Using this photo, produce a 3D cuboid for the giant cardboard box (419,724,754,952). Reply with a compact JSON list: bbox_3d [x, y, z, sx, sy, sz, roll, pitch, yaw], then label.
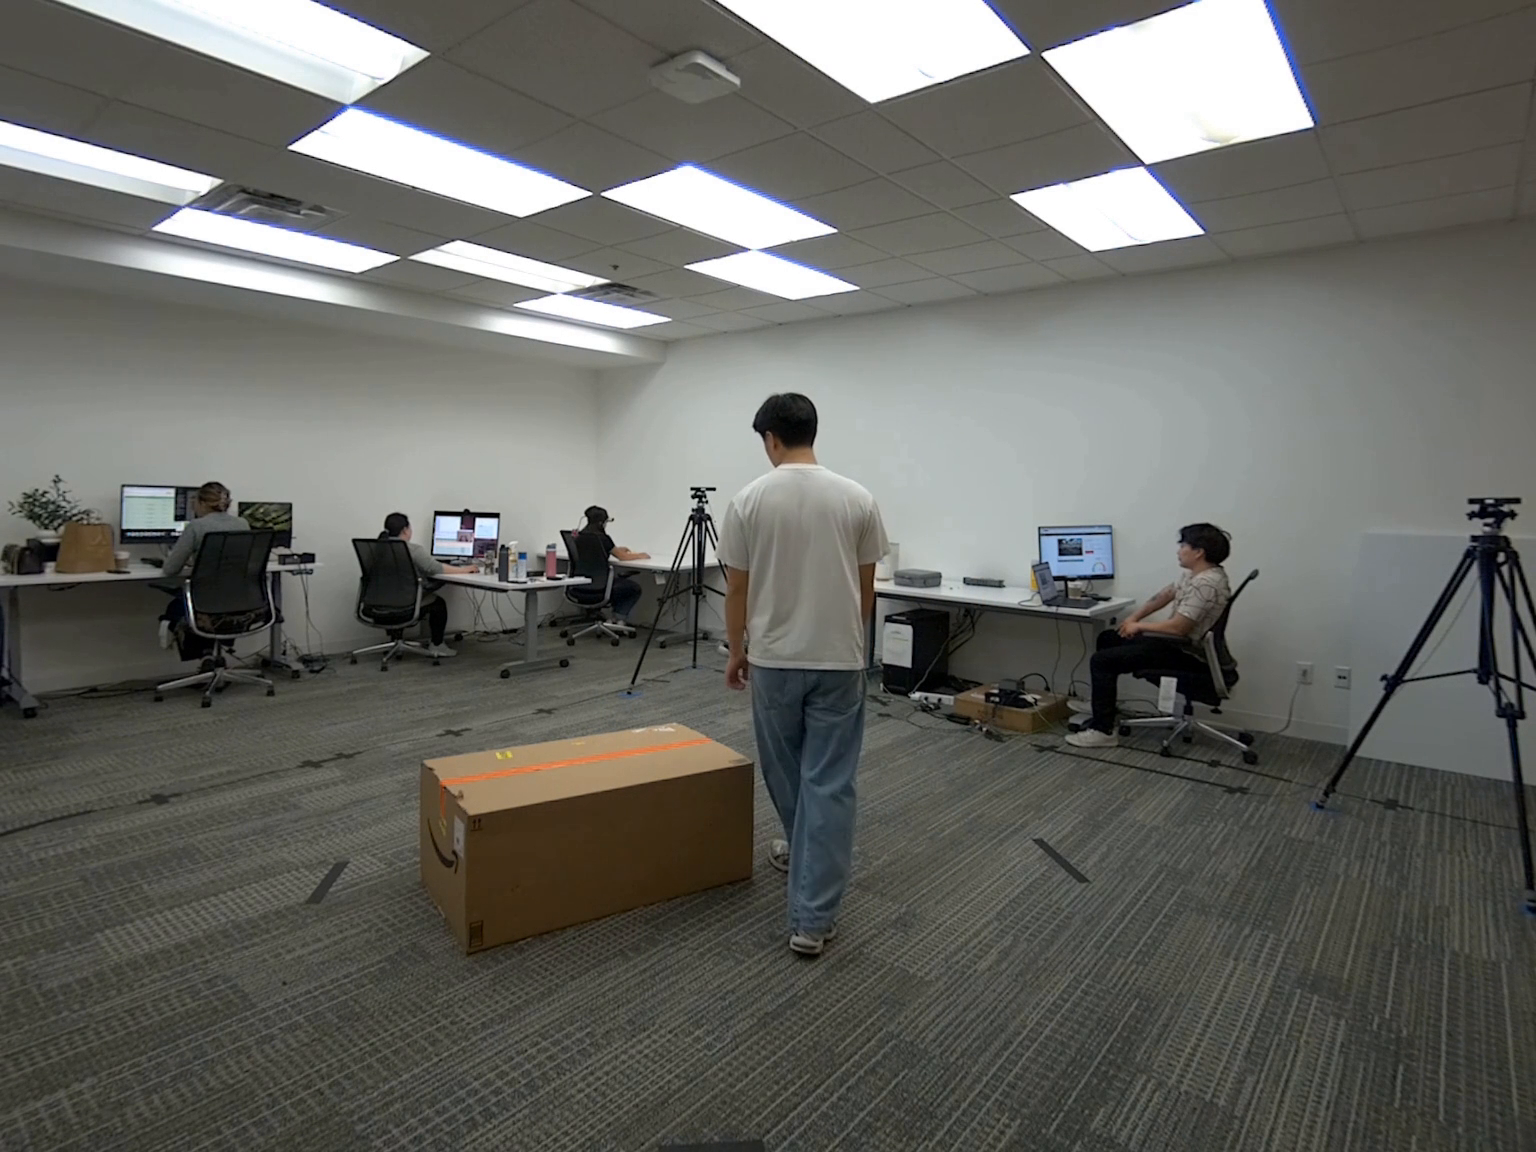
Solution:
[{"bbox_3d":[-0.643,0.855,2.998,0.997,0.425,0.596,-3,5,-33],"label":"giant cardboard box"}]
